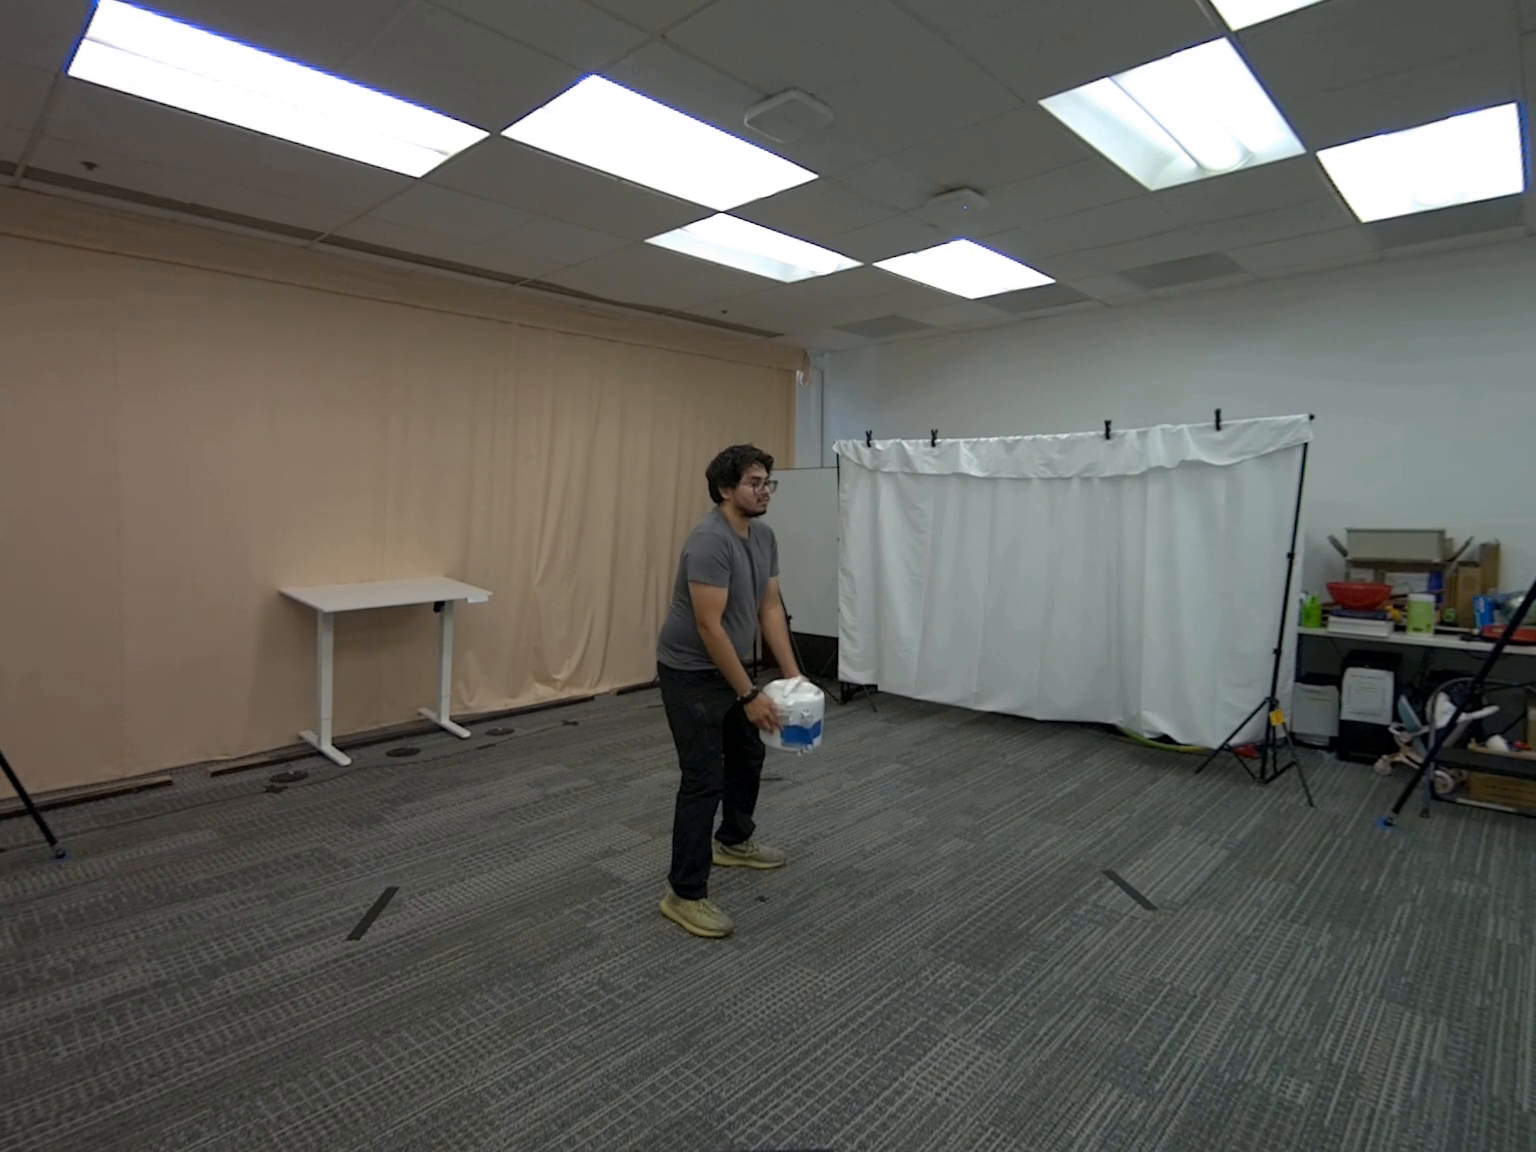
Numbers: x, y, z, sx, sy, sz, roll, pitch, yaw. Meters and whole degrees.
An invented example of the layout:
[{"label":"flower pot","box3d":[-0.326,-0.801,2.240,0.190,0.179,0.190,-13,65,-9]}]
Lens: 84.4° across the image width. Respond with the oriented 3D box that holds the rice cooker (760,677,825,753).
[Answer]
[{"label":"rice cooker","box3d":[0.081,0.465,2.822,0.222,0.231,0.217,7,10,19]}]
